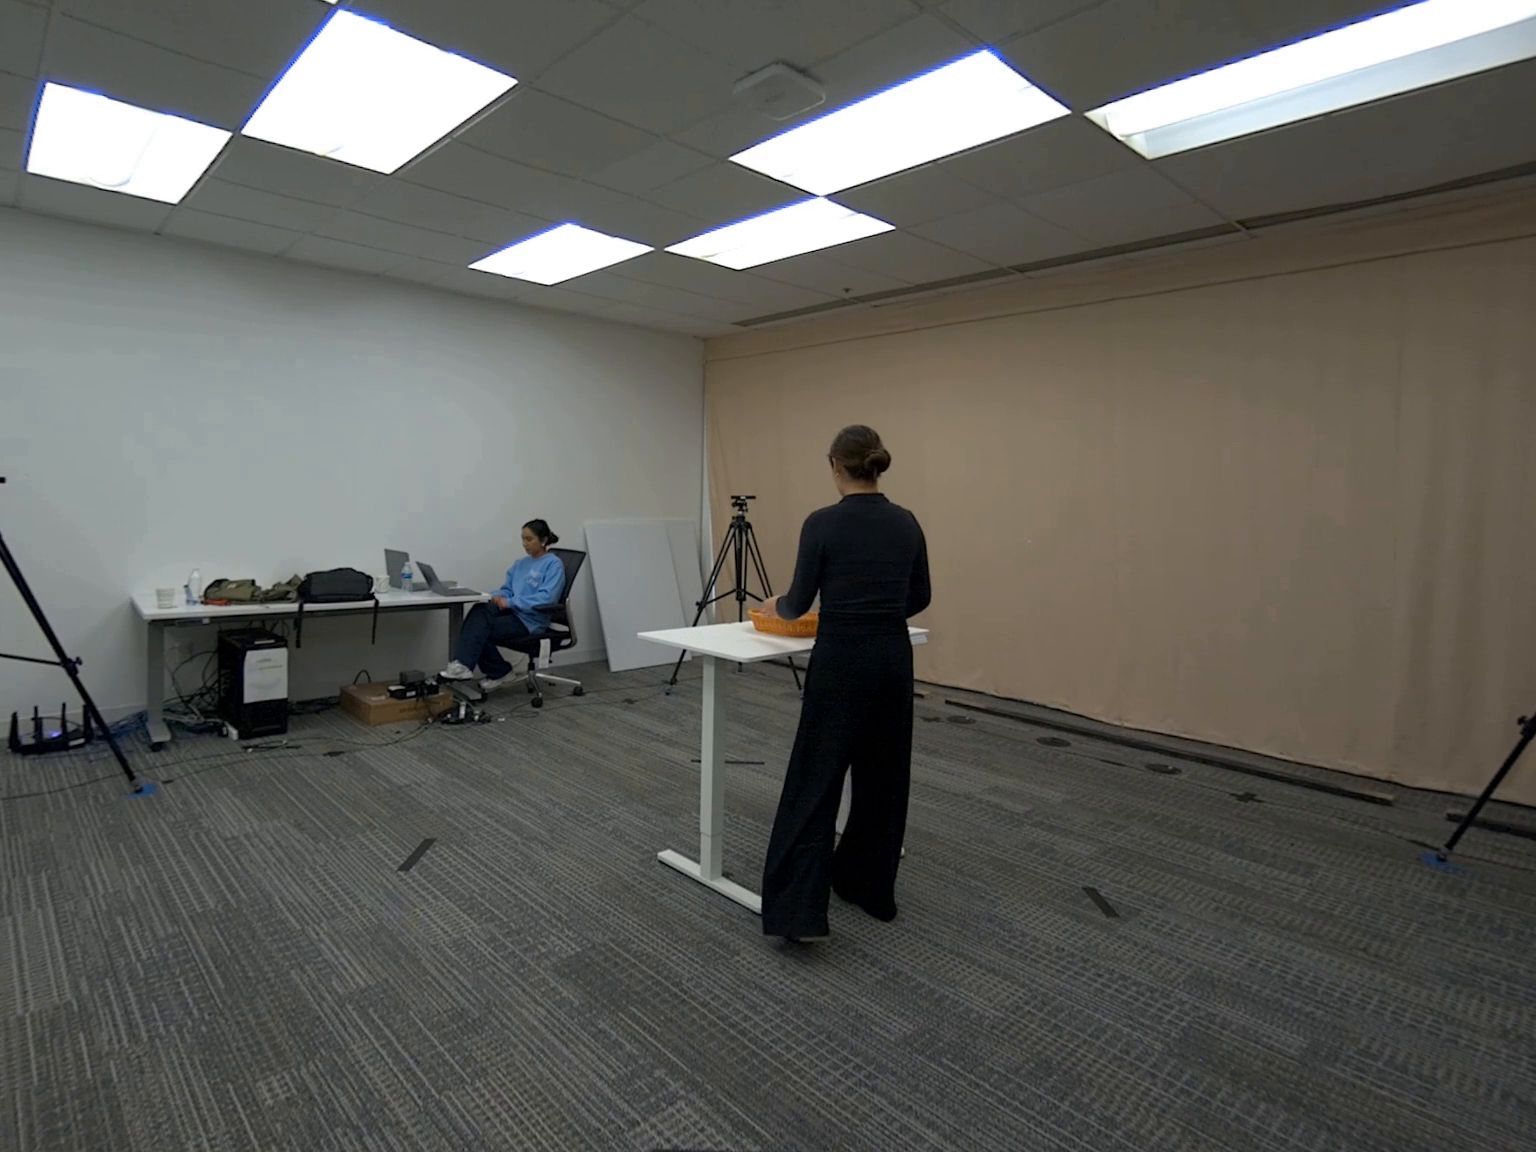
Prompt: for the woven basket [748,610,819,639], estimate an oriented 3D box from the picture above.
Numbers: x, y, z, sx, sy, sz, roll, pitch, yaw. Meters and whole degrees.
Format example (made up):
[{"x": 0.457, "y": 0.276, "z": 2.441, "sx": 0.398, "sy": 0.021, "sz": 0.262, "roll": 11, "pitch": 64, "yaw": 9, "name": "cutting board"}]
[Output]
[{"x": 0.078, "y": 0.183, "z": 3.217, "sx": 0.247, "sy": 0.073, "sz": 0.359, "roll": -3, "pitch": 6, "yaw": -40, "name": "woven basket"}]
